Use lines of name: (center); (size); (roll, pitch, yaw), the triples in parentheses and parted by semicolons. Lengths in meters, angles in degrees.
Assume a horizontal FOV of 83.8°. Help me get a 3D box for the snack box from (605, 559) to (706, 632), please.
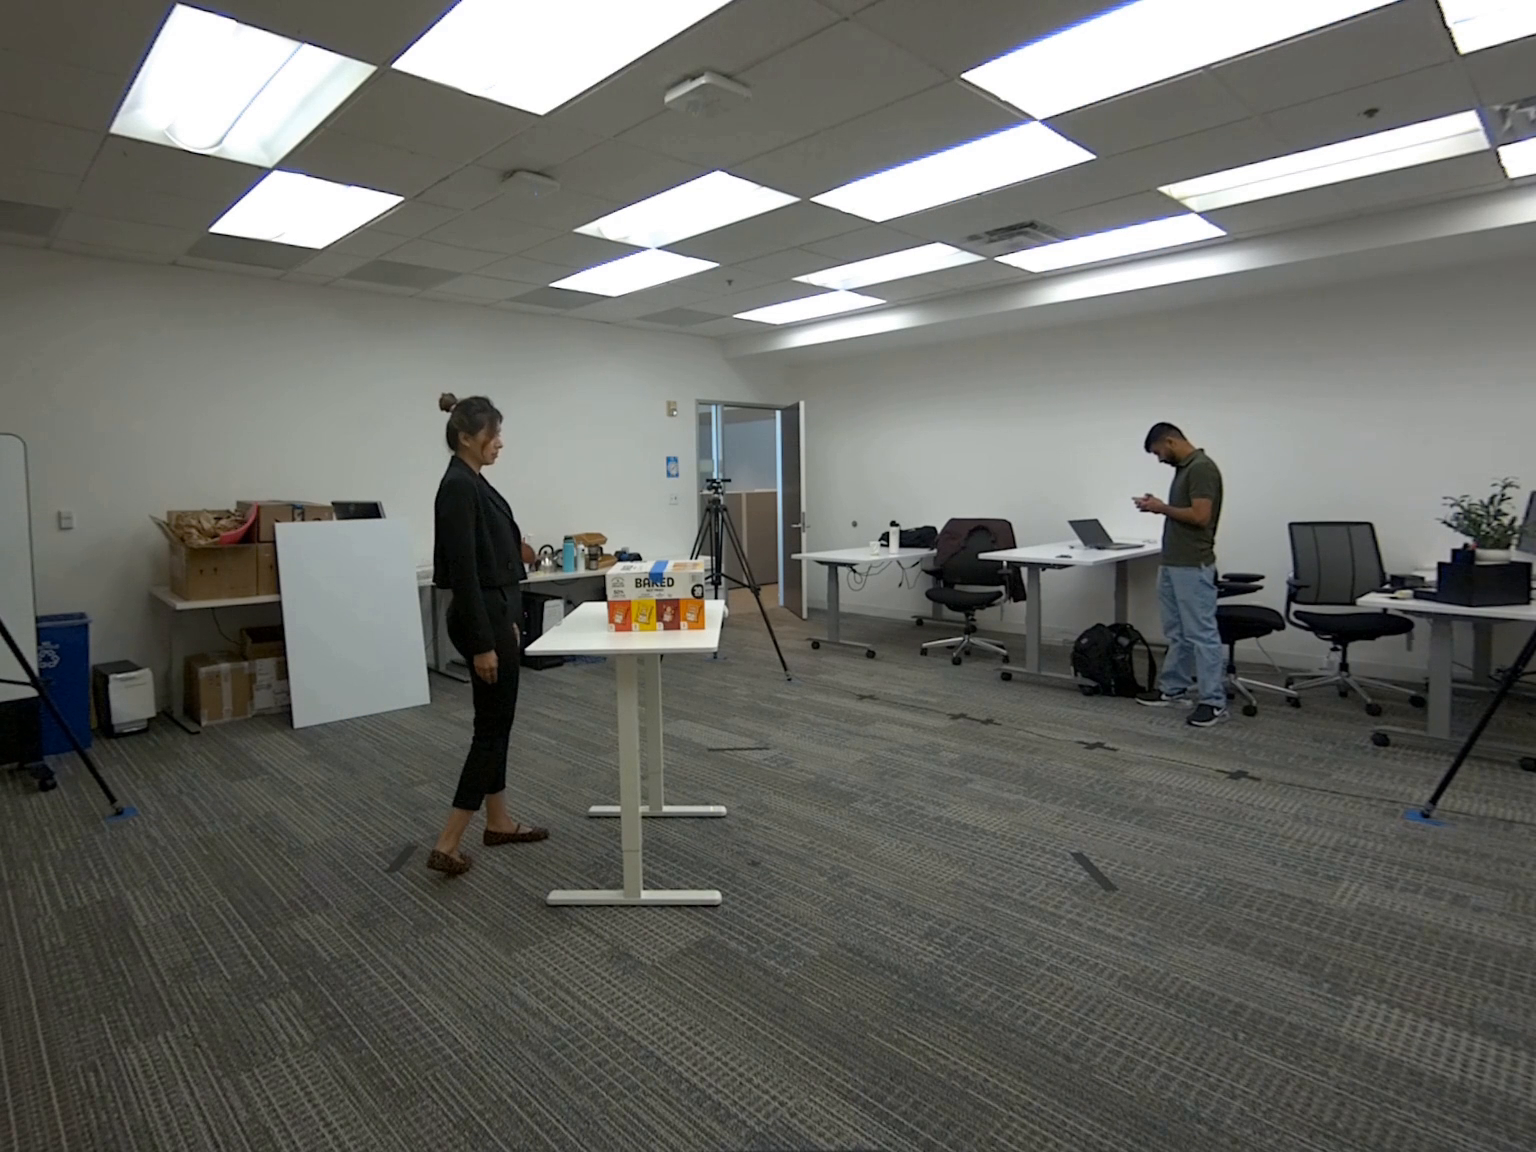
snack box: (-0.397, 0.065, 3.135); (0.340, 0.205, 0.407); (-1, 6, -2)
